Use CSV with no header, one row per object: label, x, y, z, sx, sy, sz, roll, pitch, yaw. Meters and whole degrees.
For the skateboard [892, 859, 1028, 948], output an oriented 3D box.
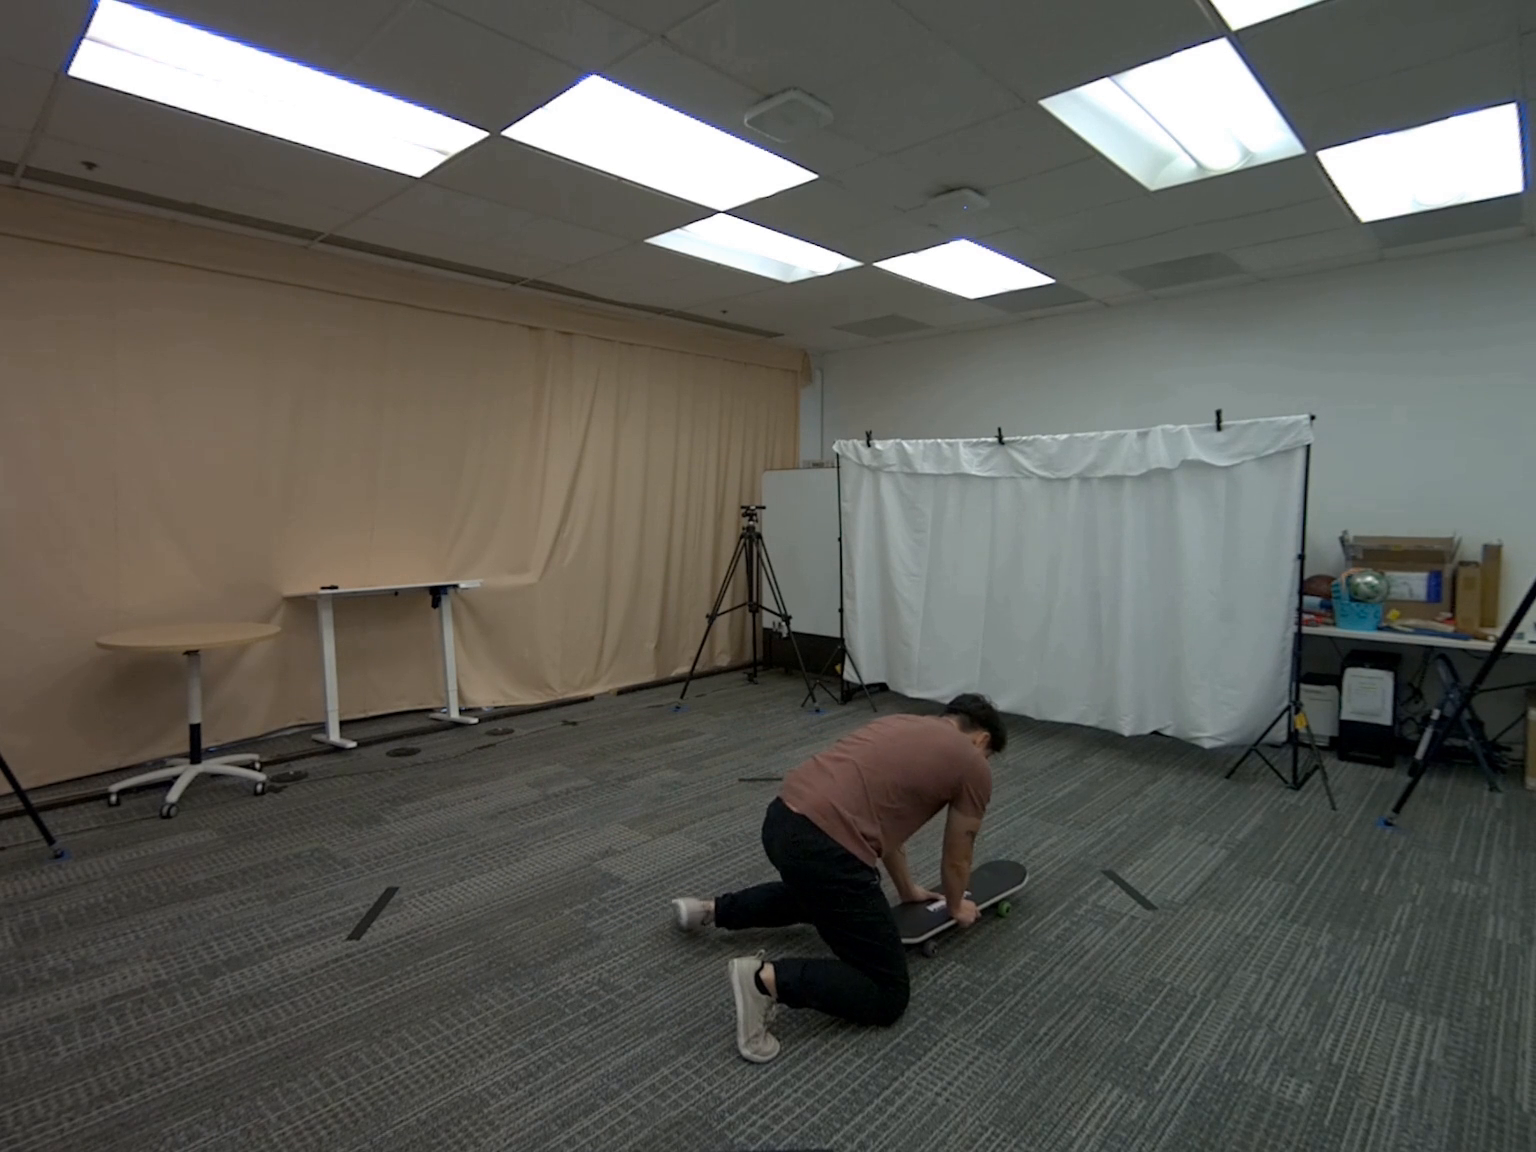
skateboard,0.601,1.111,2.772,0.762,0.110,0.199,-6,4,-39
